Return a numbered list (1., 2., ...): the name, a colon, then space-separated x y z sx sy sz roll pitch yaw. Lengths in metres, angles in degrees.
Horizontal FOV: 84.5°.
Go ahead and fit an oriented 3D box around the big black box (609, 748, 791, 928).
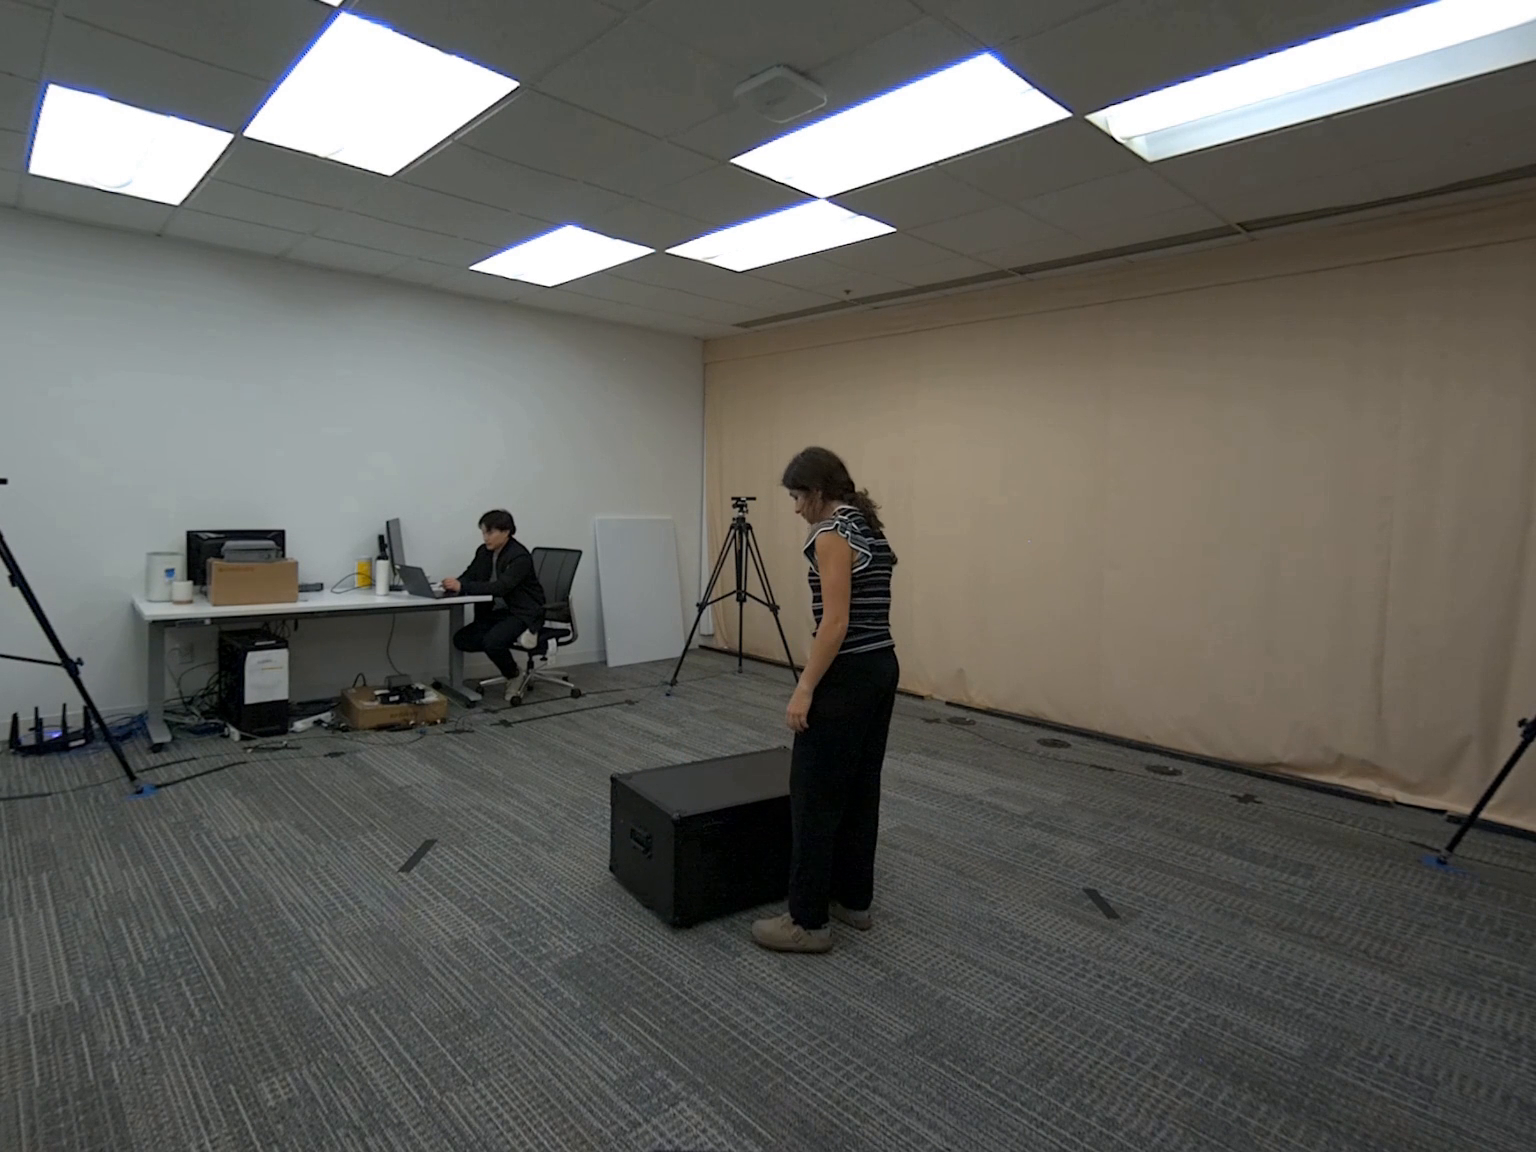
1. big black box: -0.099 0.919 3.088 0.843 0.395 0.534 -3 6 -34
